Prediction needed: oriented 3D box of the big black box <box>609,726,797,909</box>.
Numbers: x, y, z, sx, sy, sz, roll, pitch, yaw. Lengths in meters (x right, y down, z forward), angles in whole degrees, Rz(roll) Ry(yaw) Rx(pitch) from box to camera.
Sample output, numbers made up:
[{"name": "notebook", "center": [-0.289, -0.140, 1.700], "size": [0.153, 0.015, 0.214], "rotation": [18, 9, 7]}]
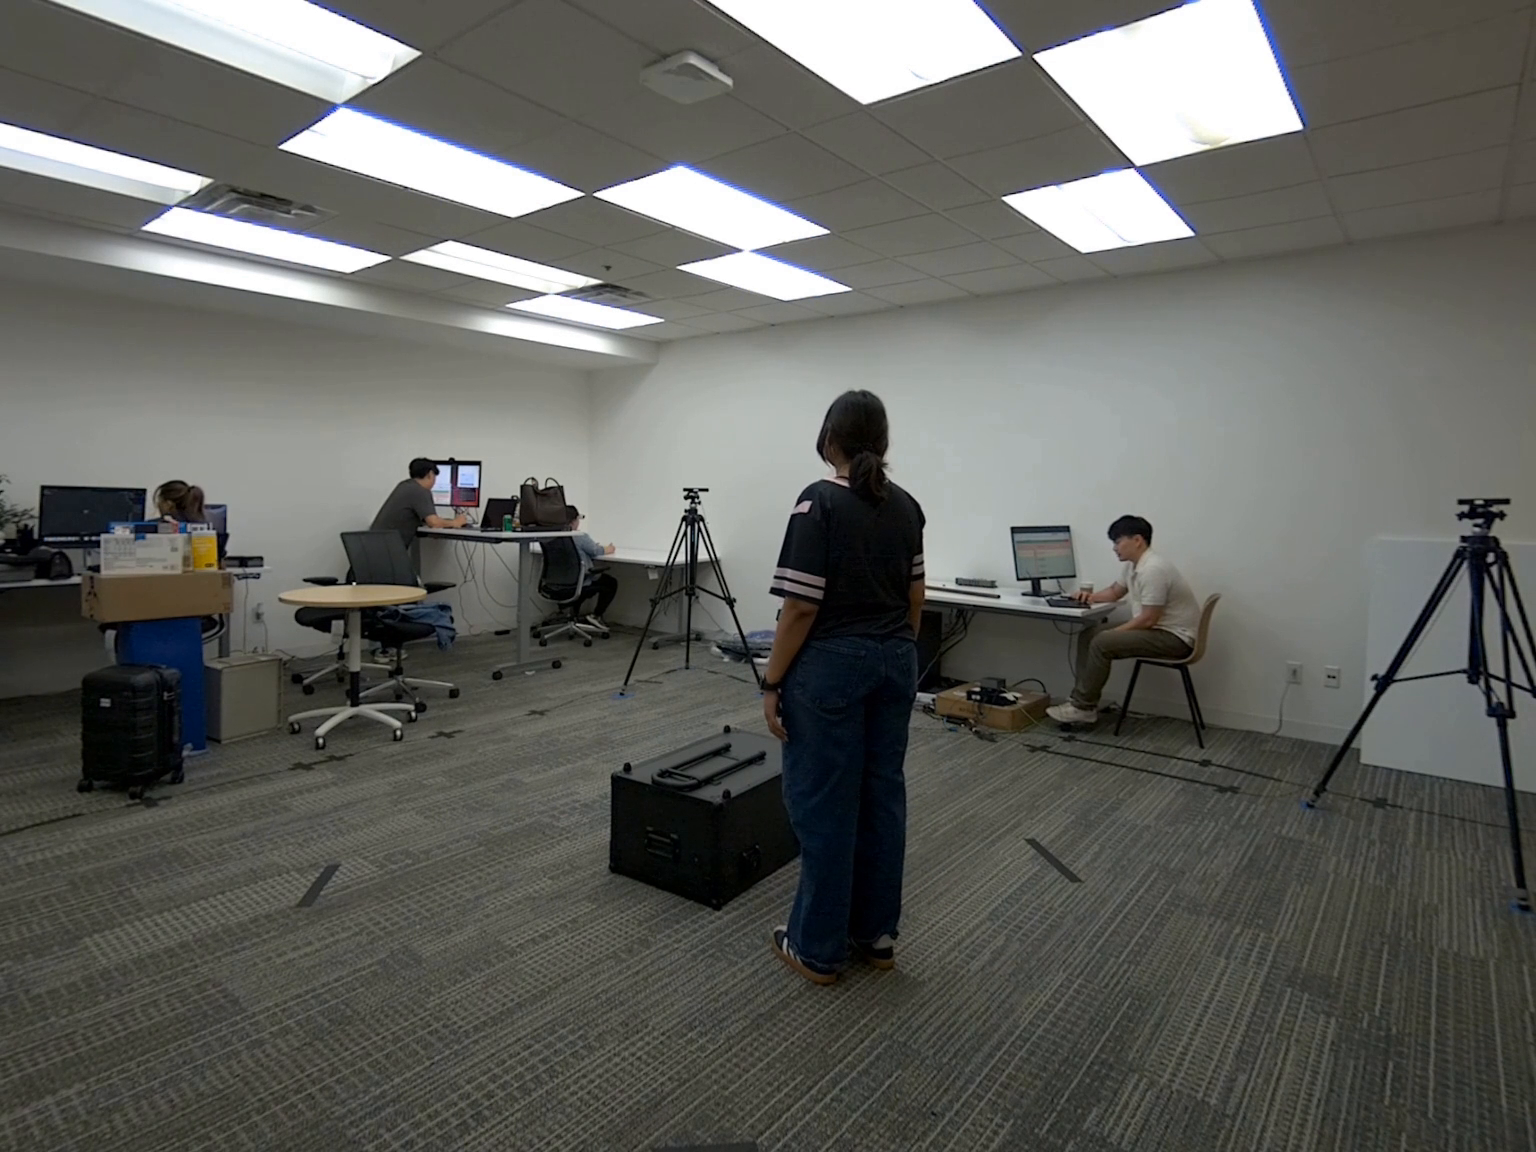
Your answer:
[{"name": "big black box", "center": [-0.157, 0.869, 3.274], "size": [0.539, 0.384, 0.845], "rotation": [2, 5, 33]}]
